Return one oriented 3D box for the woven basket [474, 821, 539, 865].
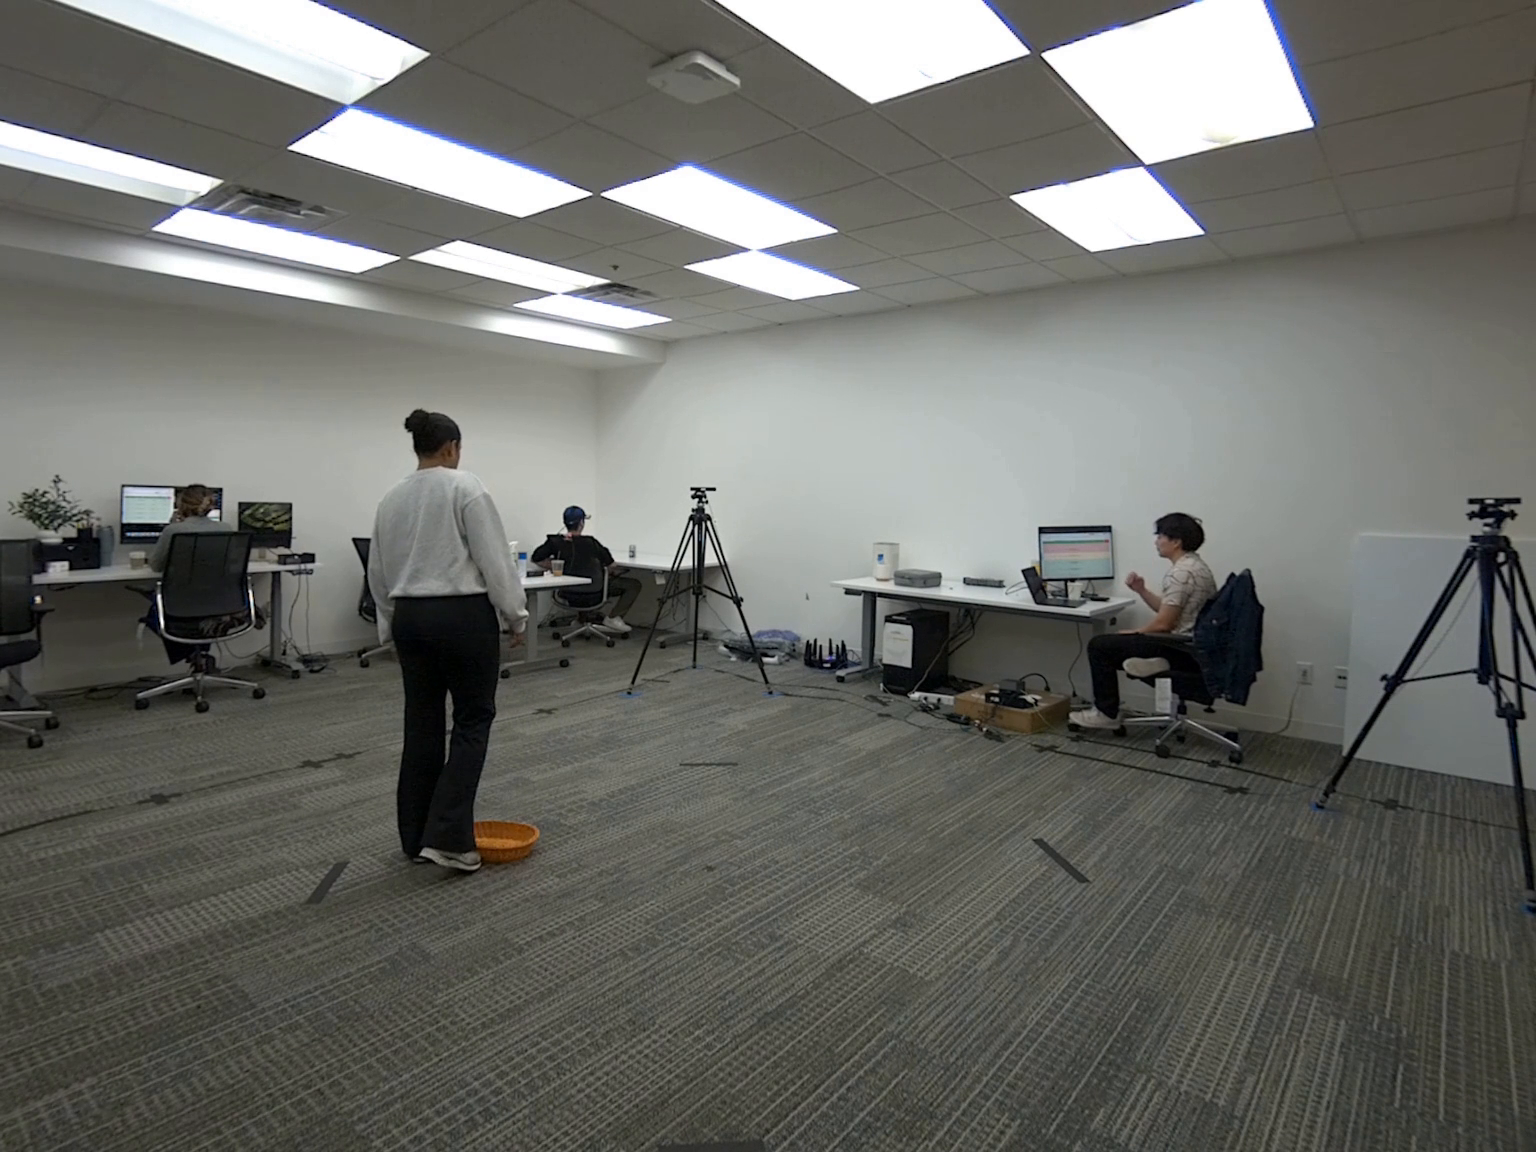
[{"bbox_3d":[-1.034,1.000,3.255,0.355,0.073,0.250,2,5,11],"label":"woven basket"}]
